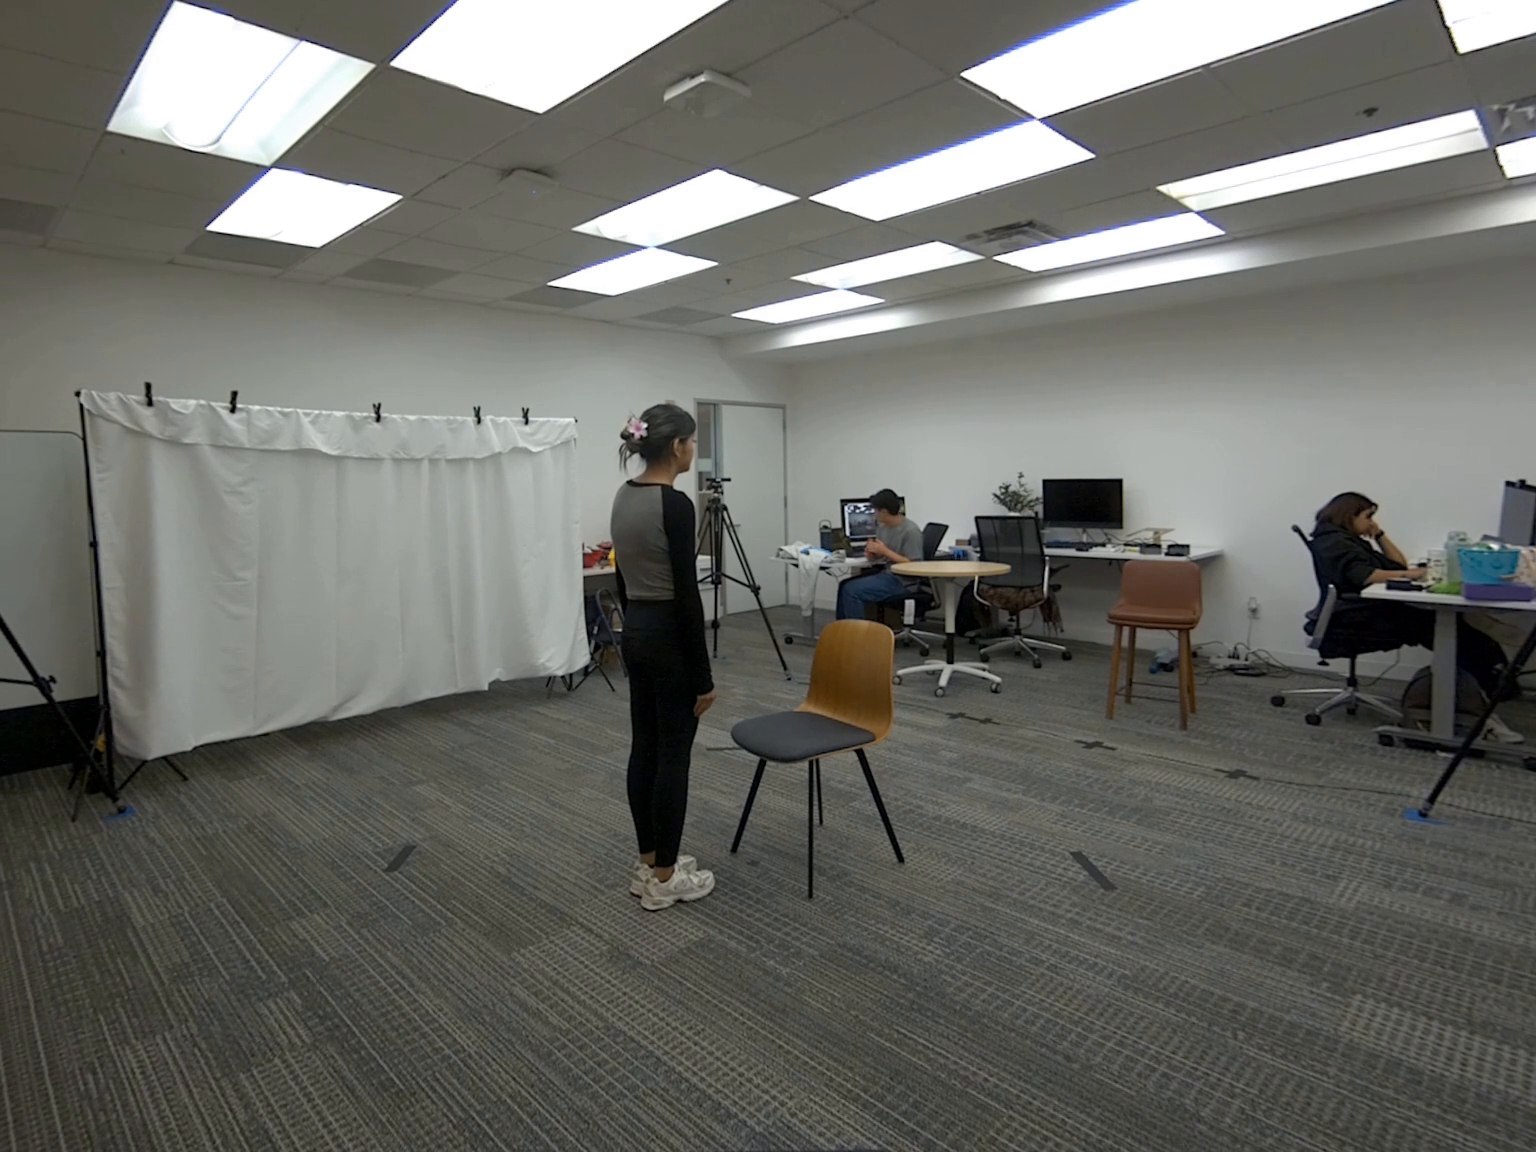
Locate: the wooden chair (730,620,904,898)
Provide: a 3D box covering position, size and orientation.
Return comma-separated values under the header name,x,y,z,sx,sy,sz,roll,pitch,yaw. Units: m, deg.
name,x,y,z,sx,sy,sz,roll,pitch,yaw
wooden chair,0.170,0.613,3.101,0.508,0.876,0.492,1,3,-37
